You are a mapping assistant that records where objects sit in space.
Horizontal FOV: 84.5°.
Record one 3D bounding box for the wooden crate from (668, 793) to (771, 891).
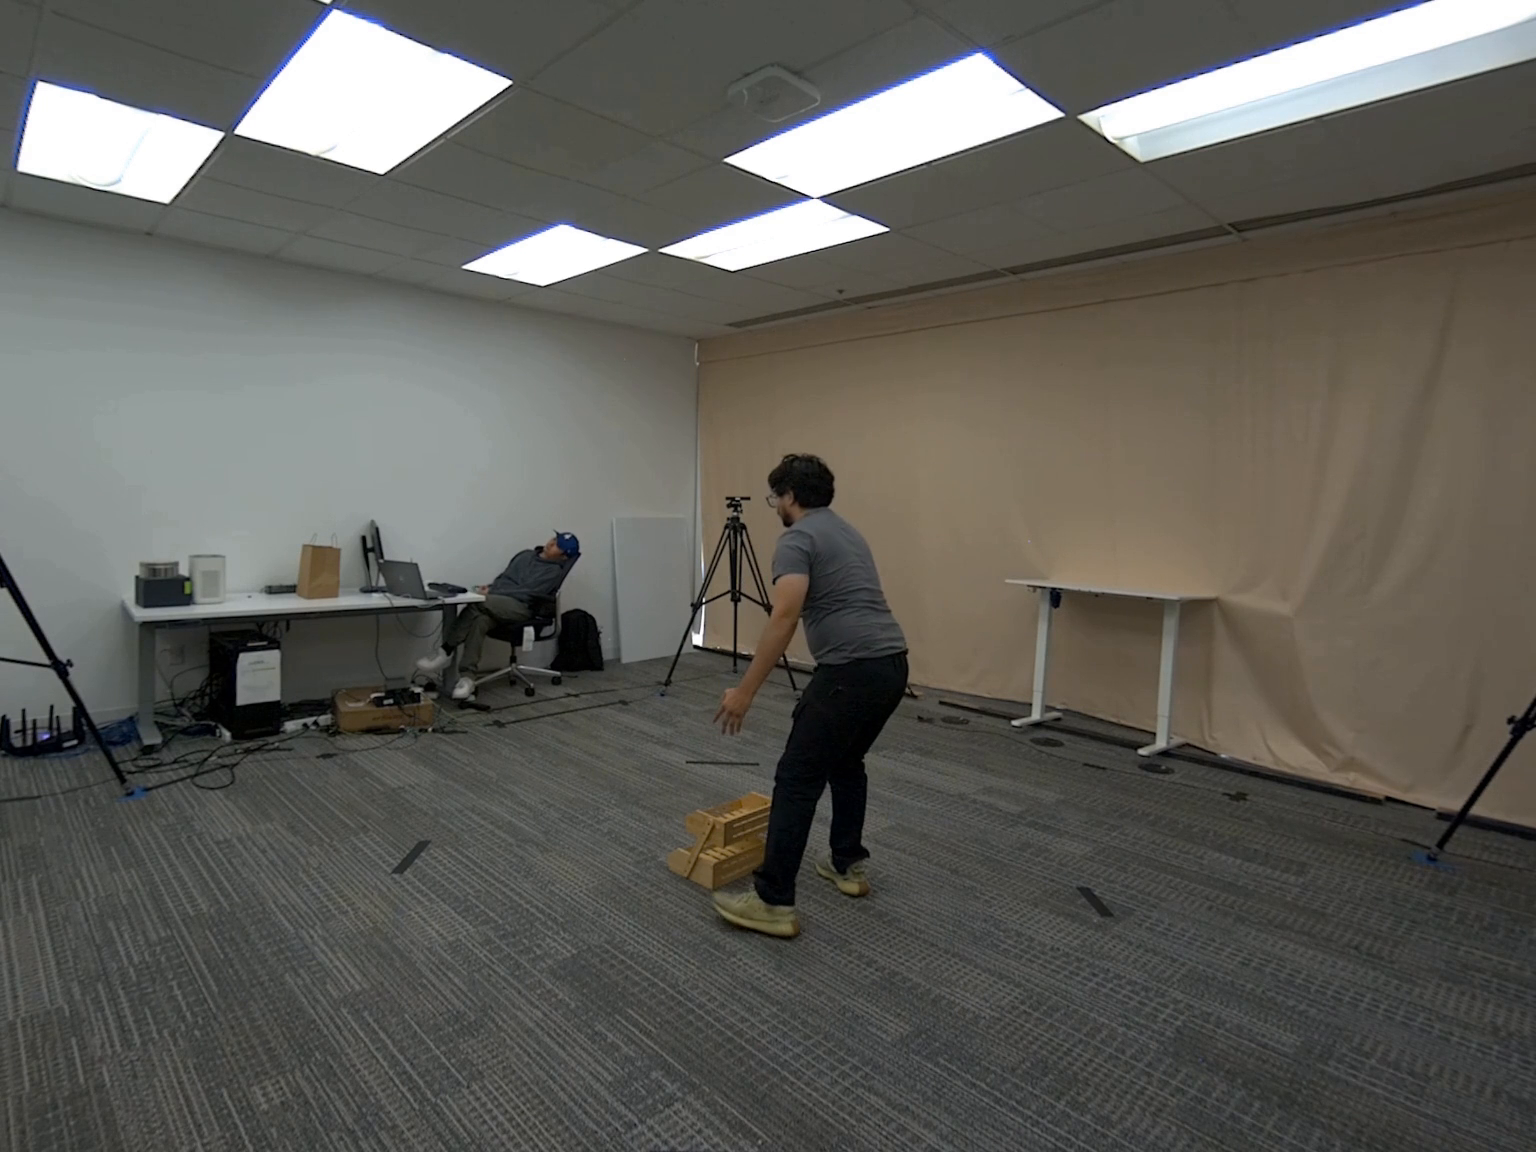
[{"bbox_3d":[-0.176,0.967,3.155,0.310,0.272,0.317,6,6,42],"label":"wooden crate"}]
